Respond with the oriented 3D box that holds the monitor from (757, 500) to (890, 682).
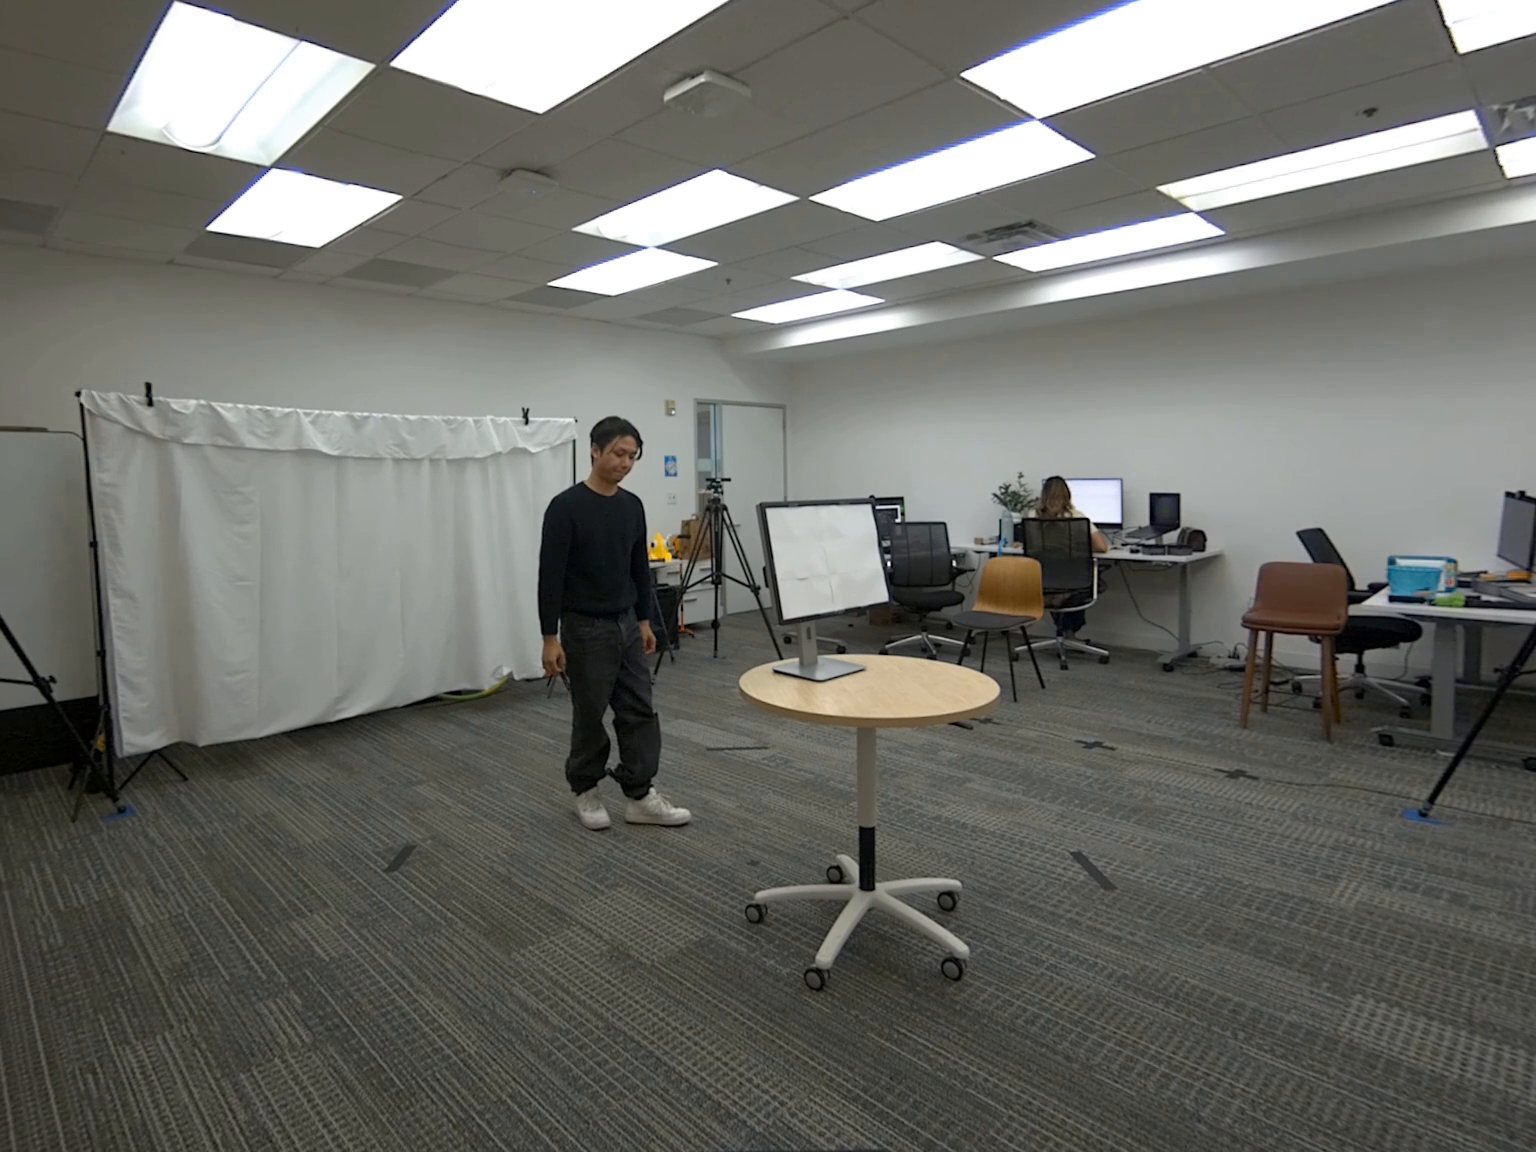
[{"bbox_3d":[0.165,0.037,2.700,0.193,0.520,0.525,4,7,41],"label":"monitor"}]
